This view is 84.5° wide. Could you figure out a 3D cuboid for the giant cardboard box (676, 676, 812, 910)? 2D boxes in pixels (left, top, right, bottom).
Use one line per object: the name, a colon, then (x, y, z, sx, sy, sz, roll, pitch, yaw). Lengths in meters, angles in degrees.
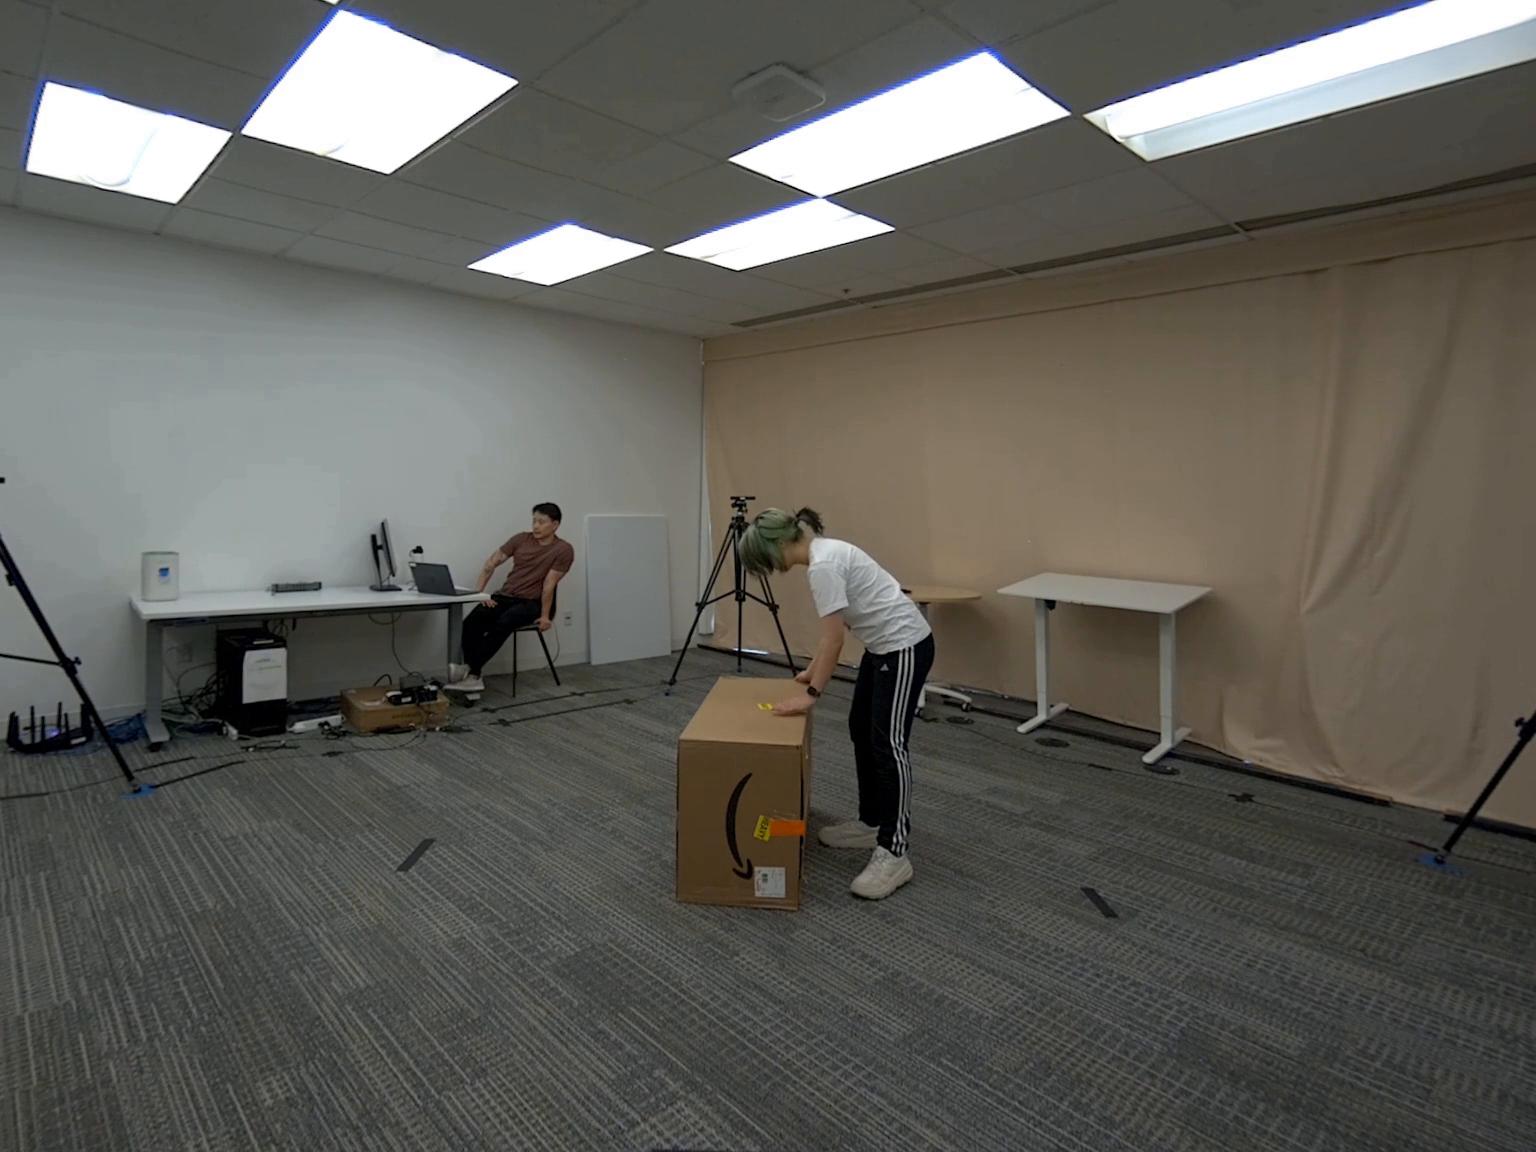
giant cardboard box: (-0.063, 0.797, 3.350, 0.428, 0.576, 1.024, 1, 5, 5)
